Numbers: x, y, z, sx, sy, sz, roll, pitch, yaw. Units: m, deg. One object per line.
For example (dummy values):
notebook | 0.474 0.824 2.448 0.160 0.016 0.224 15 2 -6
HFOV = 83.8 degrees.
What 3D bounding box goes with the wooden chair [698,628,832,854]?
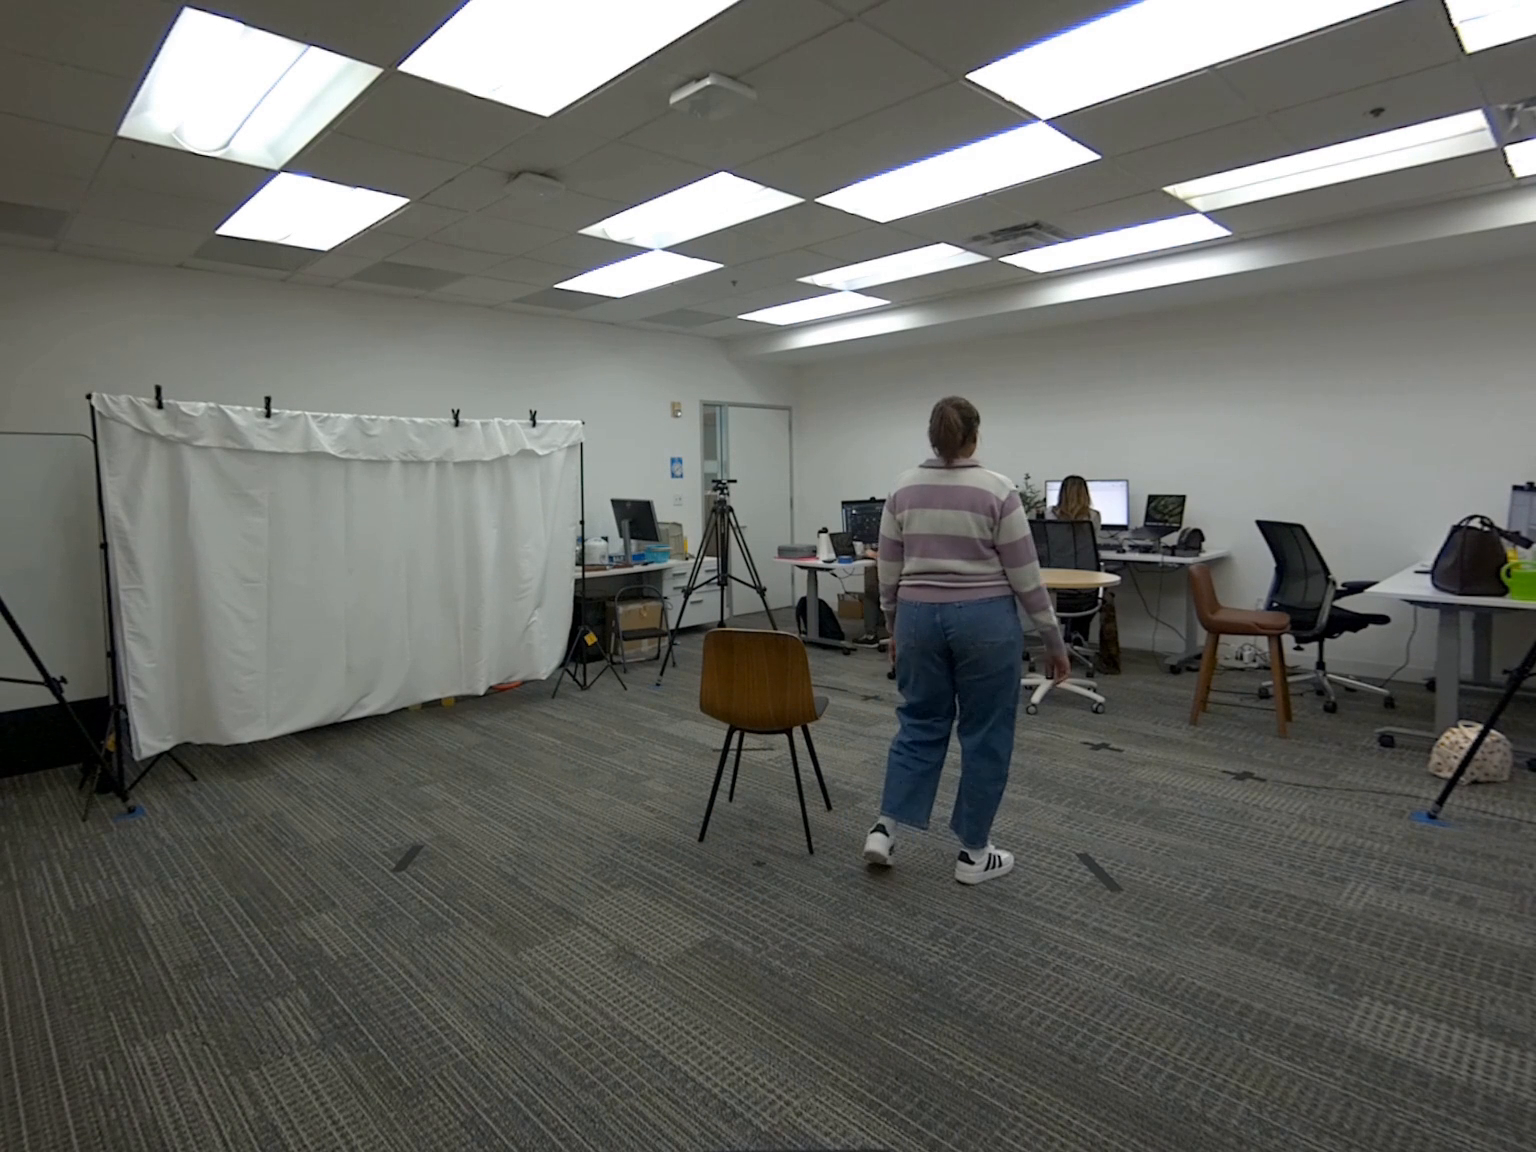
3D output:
wooden chair | -0.005 0.584 3.431 0.485 0.871 0.519 0 8 15
